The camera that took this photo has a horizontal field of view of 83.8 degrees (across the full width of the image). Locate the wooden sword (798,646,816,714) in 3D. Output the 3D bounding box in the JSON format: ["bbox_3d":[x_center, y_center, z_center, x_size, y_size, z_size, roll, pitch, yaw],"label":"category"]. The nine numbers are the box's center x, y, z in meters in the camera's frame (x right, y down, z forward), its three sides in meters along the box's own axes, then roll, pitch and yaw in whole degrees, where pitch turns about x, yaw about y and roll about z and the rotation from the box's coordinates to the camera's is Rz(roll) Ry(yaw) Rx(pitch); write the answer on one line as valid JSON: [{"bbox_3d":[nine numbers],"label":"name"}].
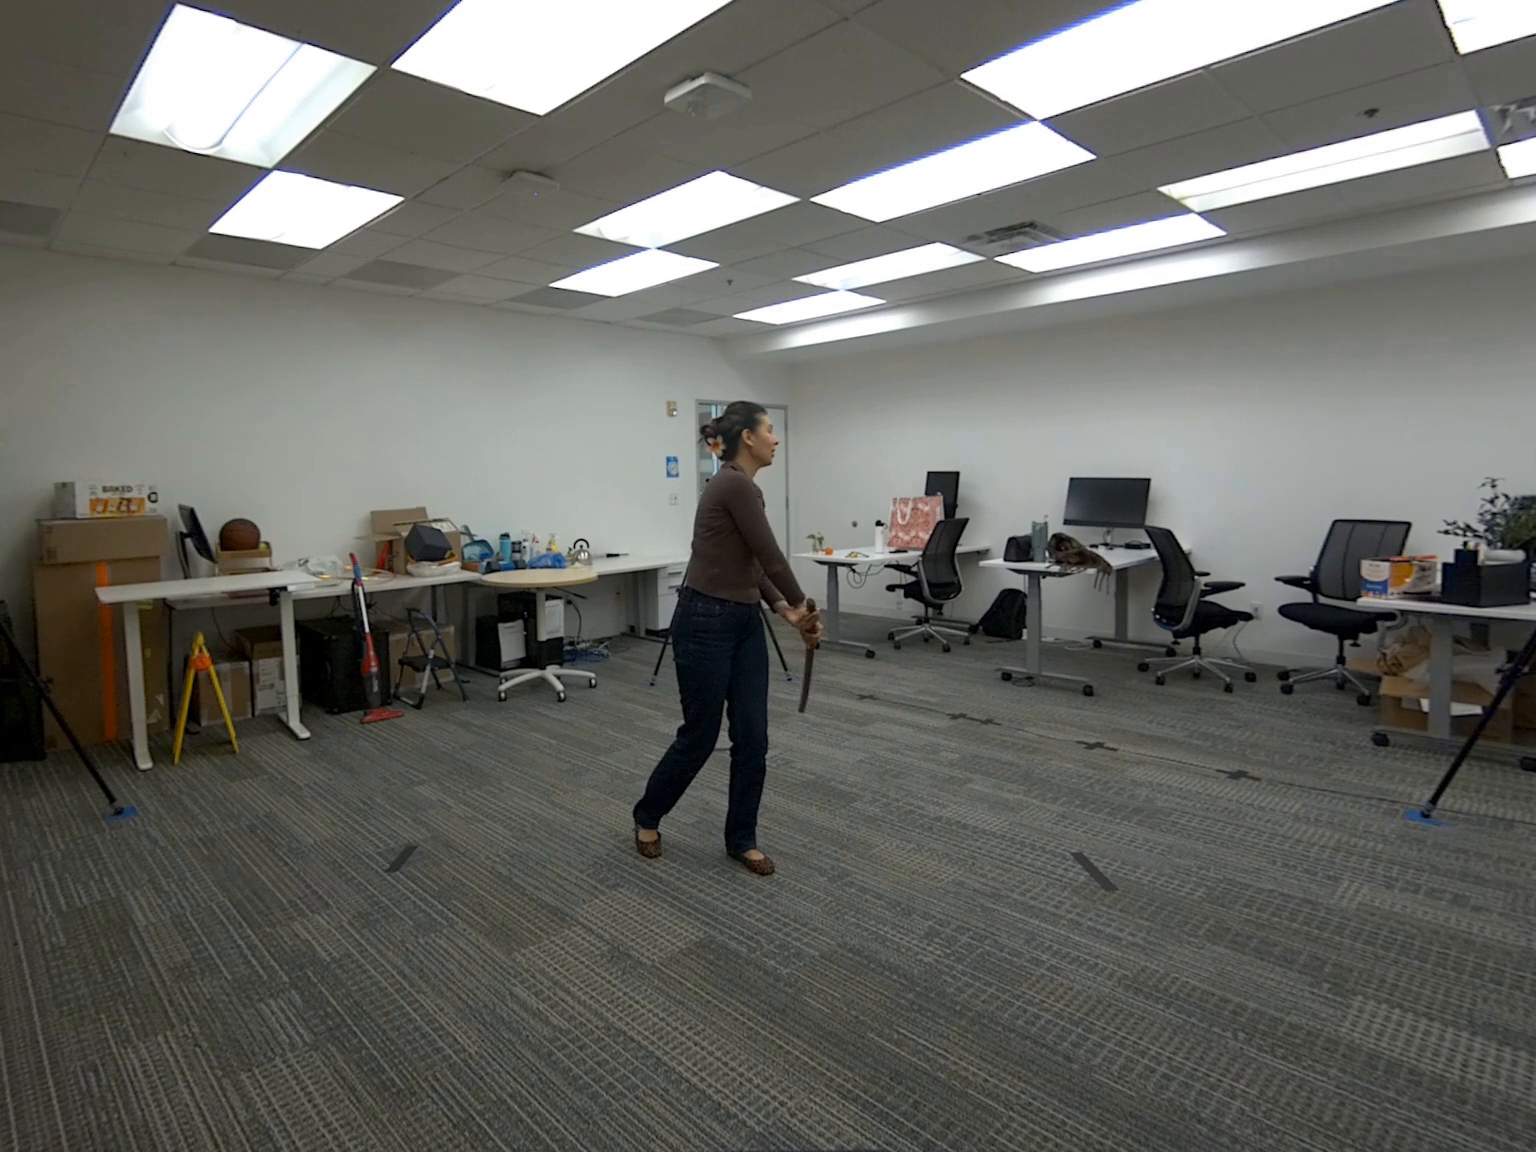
[{"bbox_3d":[0.166,0.350,3.344,0.052,0.024,1.001,13,-31,5],"label":"wooden sword"}]
